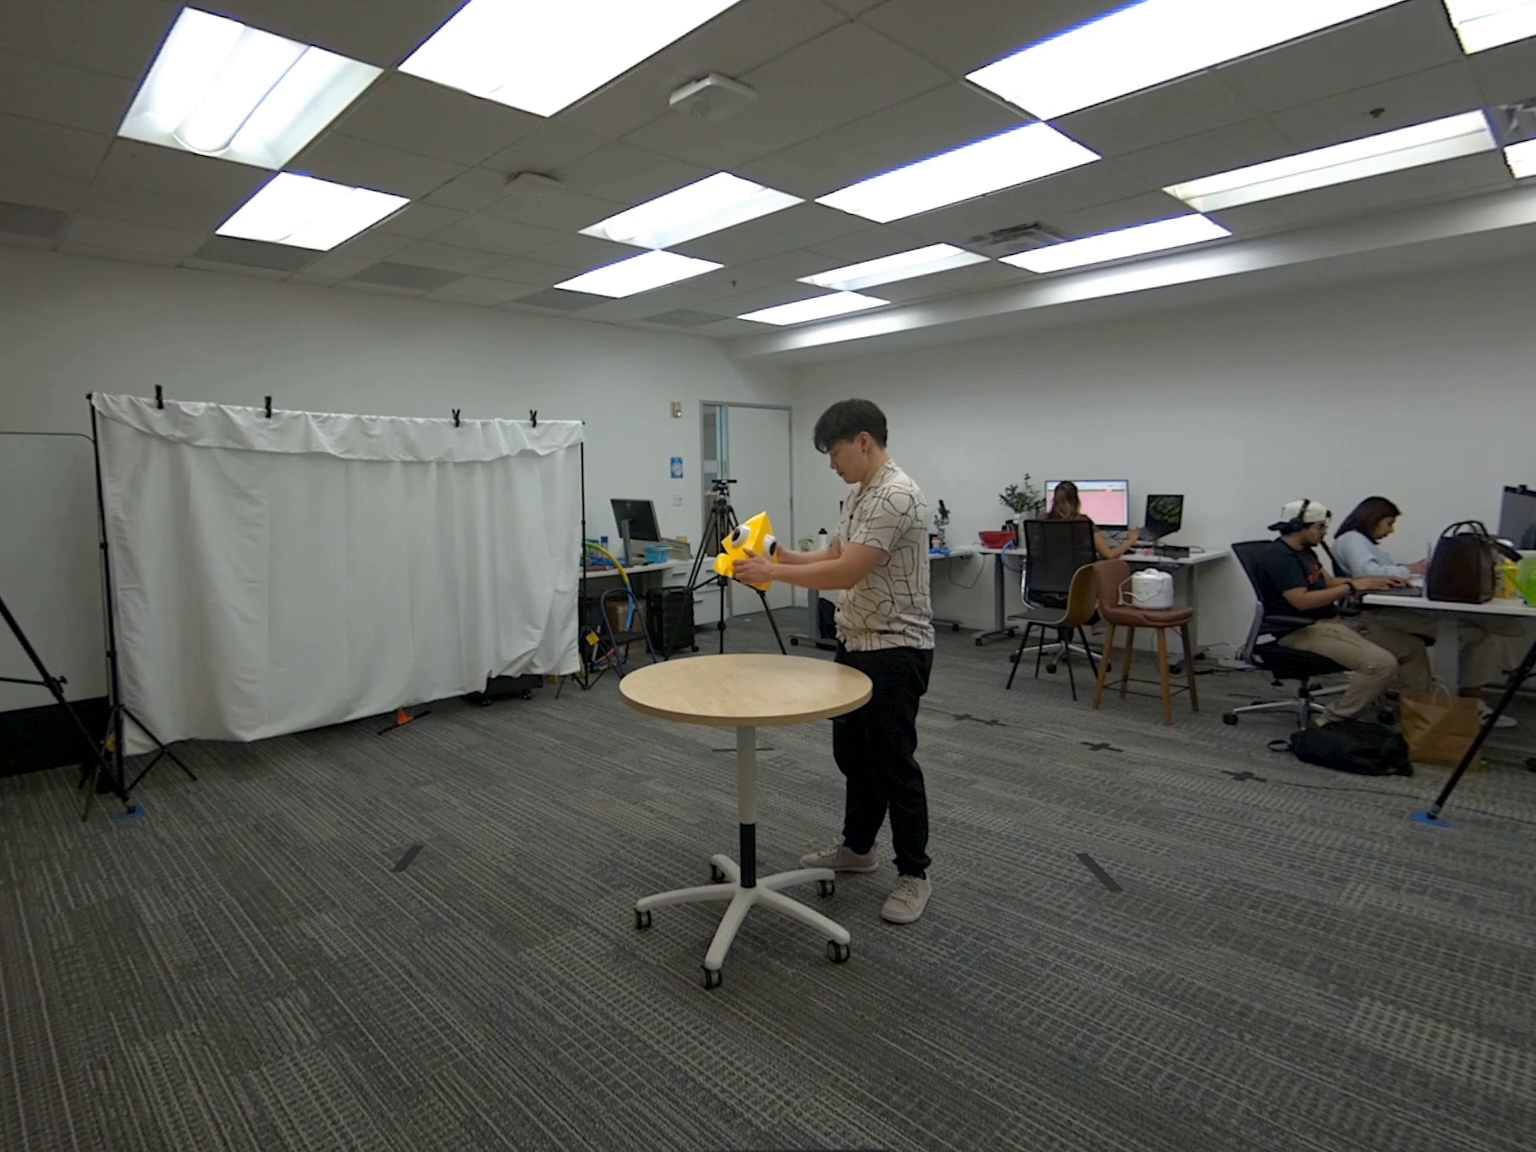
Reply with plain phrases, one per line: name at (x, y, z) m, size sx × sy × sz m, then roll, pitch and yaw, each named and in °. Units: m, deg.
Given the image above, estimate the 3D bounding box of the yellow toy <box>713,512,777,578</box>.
yellow toy at (-0.044, -0.098, 2.809) m, size 0.205 × 0.230 × 0.193 m, roll 21°, pitch 6°, yaw -1°
